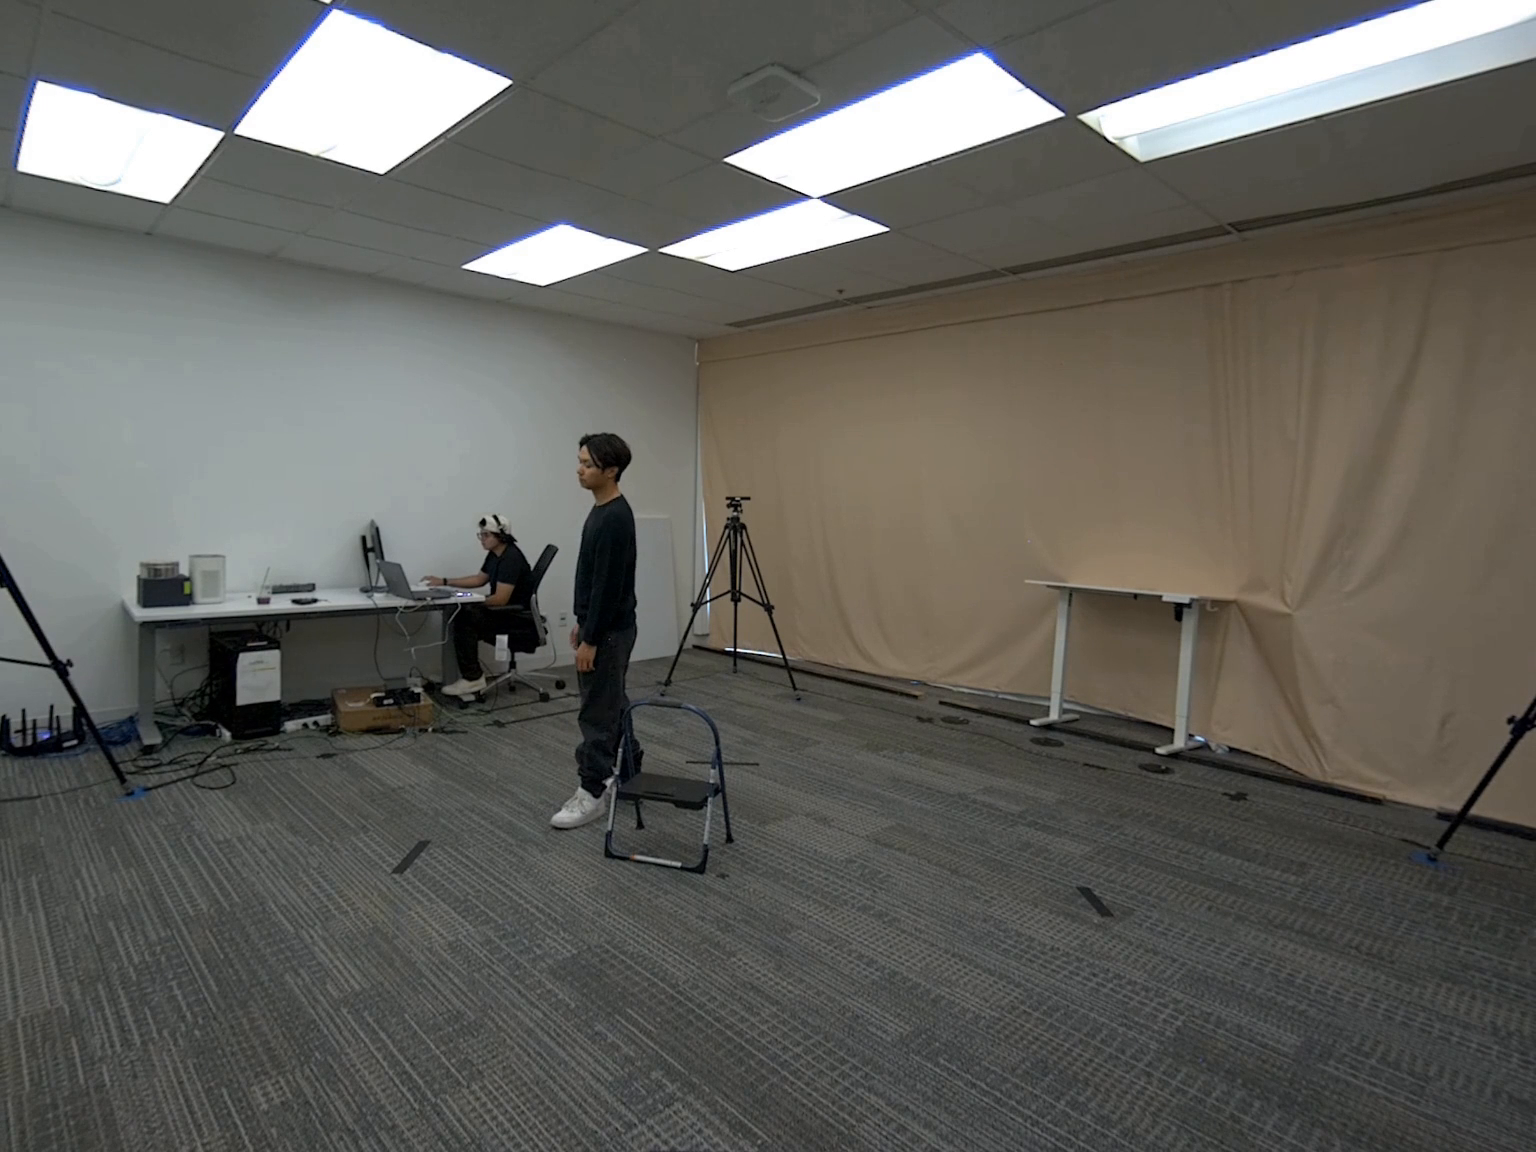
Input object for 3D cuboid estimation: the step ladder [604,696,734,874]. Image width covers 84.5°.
[{"bbox_3d":[-0.386,0.781,3.320,0.437,0.605,0.345,2,3,17],"label":"step ladder"}]
